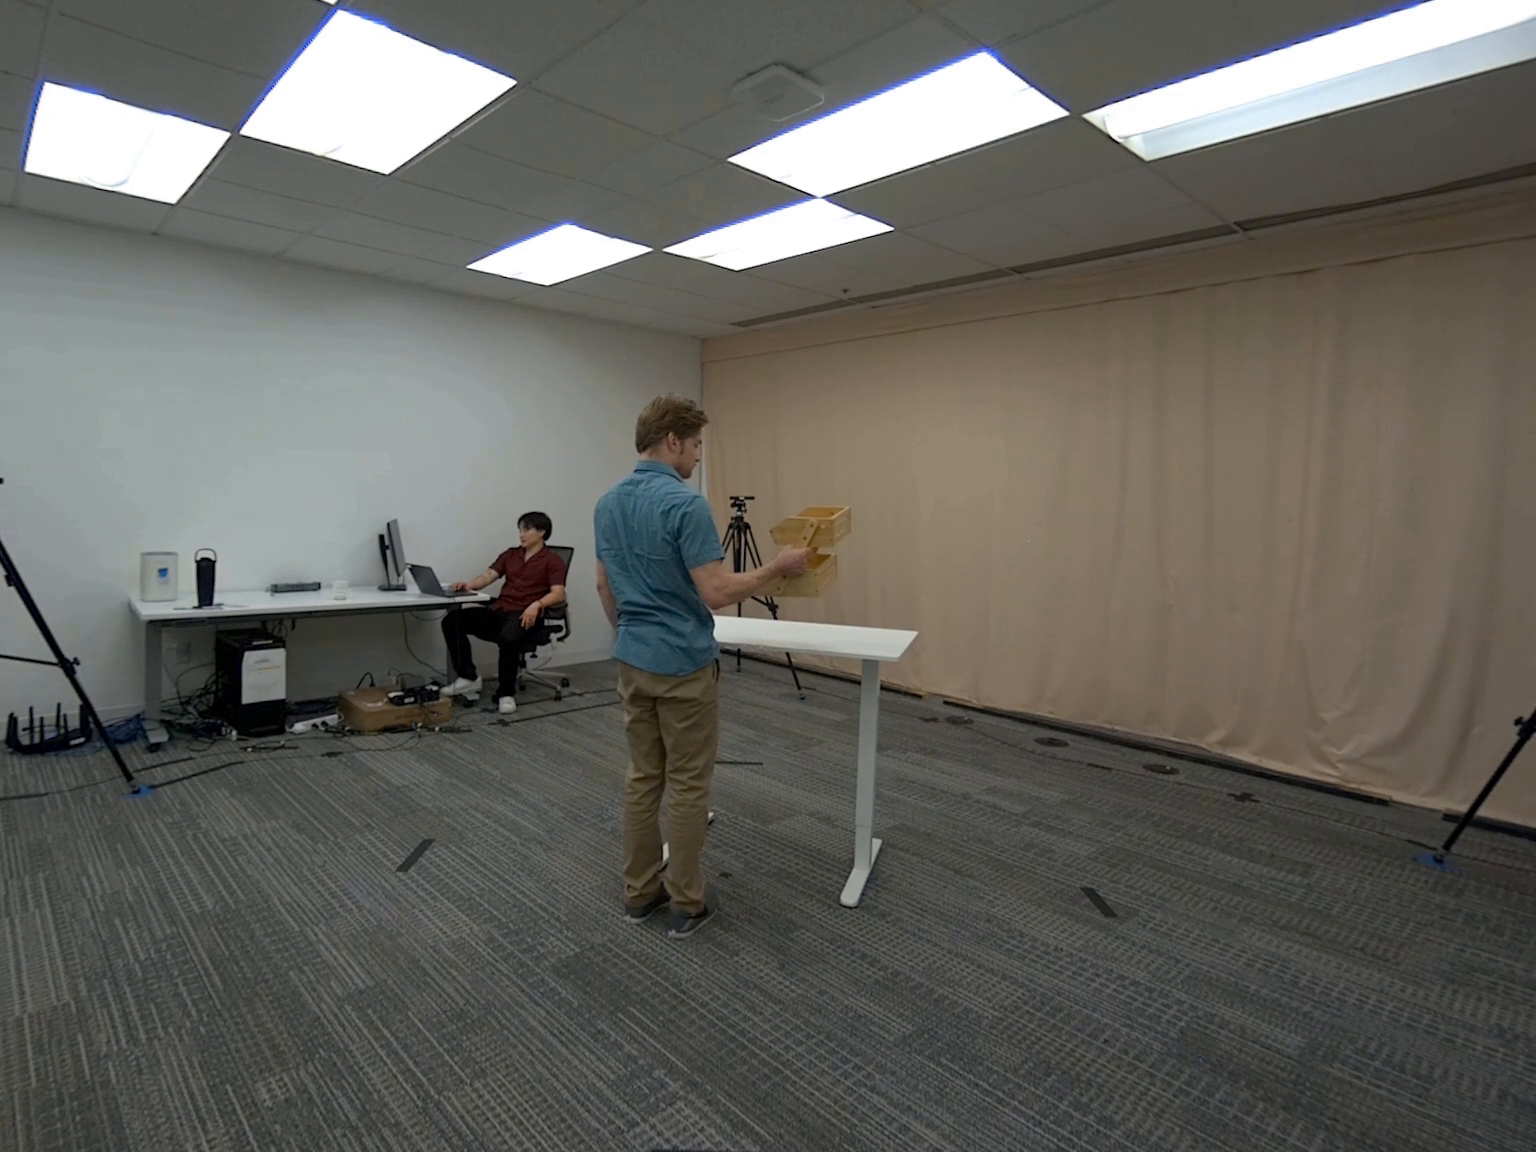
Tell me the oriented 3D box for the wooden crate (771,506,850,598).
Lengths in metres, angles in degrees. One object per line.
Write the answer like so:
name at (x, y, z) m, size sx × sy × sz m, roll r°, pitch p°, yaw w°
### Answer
wooden crate at (0.103, -0.092, 2.859) m, size 0.306 × 0.271 × 0.323 m, roll 2°, pitch 12°, yaw 16°
